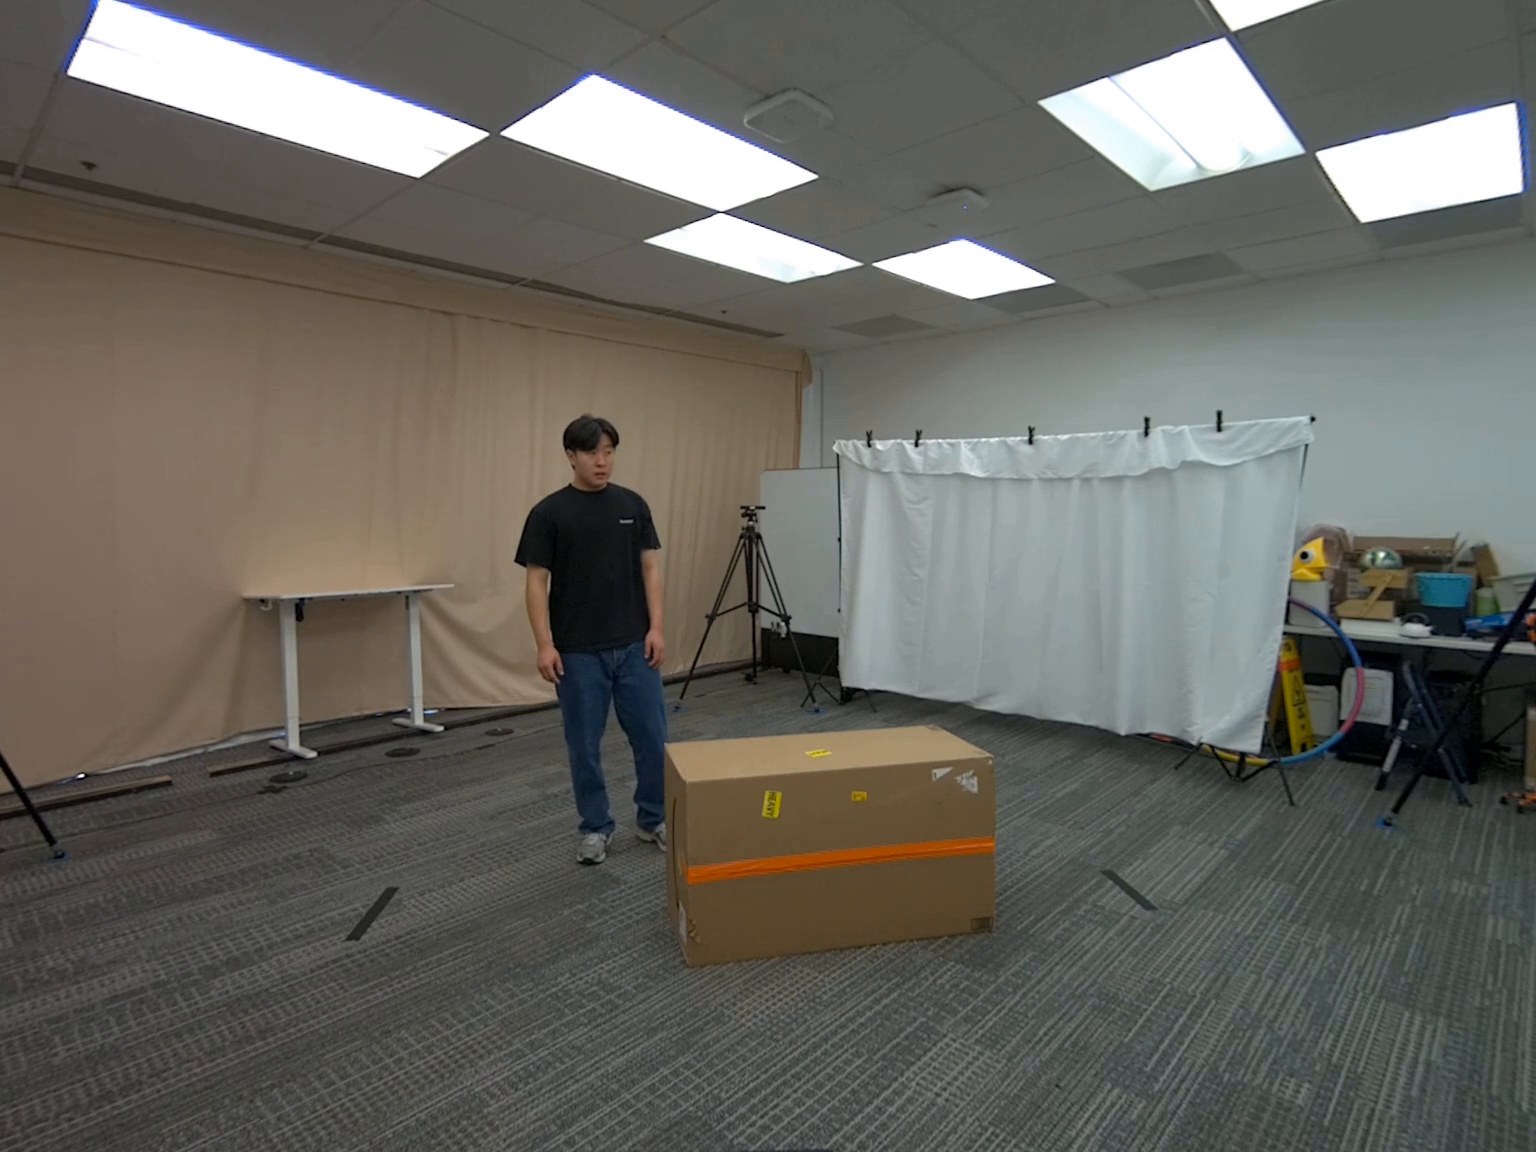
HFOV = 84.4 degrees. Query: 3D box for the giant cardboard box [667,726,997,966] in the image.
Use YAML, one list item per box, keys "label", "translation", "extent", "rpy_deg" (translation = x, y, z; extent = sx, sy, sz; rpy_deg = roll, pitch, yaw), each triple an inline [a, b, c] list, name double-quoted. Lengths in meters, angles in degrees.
- label: "giant cardboard box"
  translation: [0.192, 0.867, 2.829]
  extent: [1.013, 0.582, 0.454]
  rpy_deg: [-2, 5, -14]
